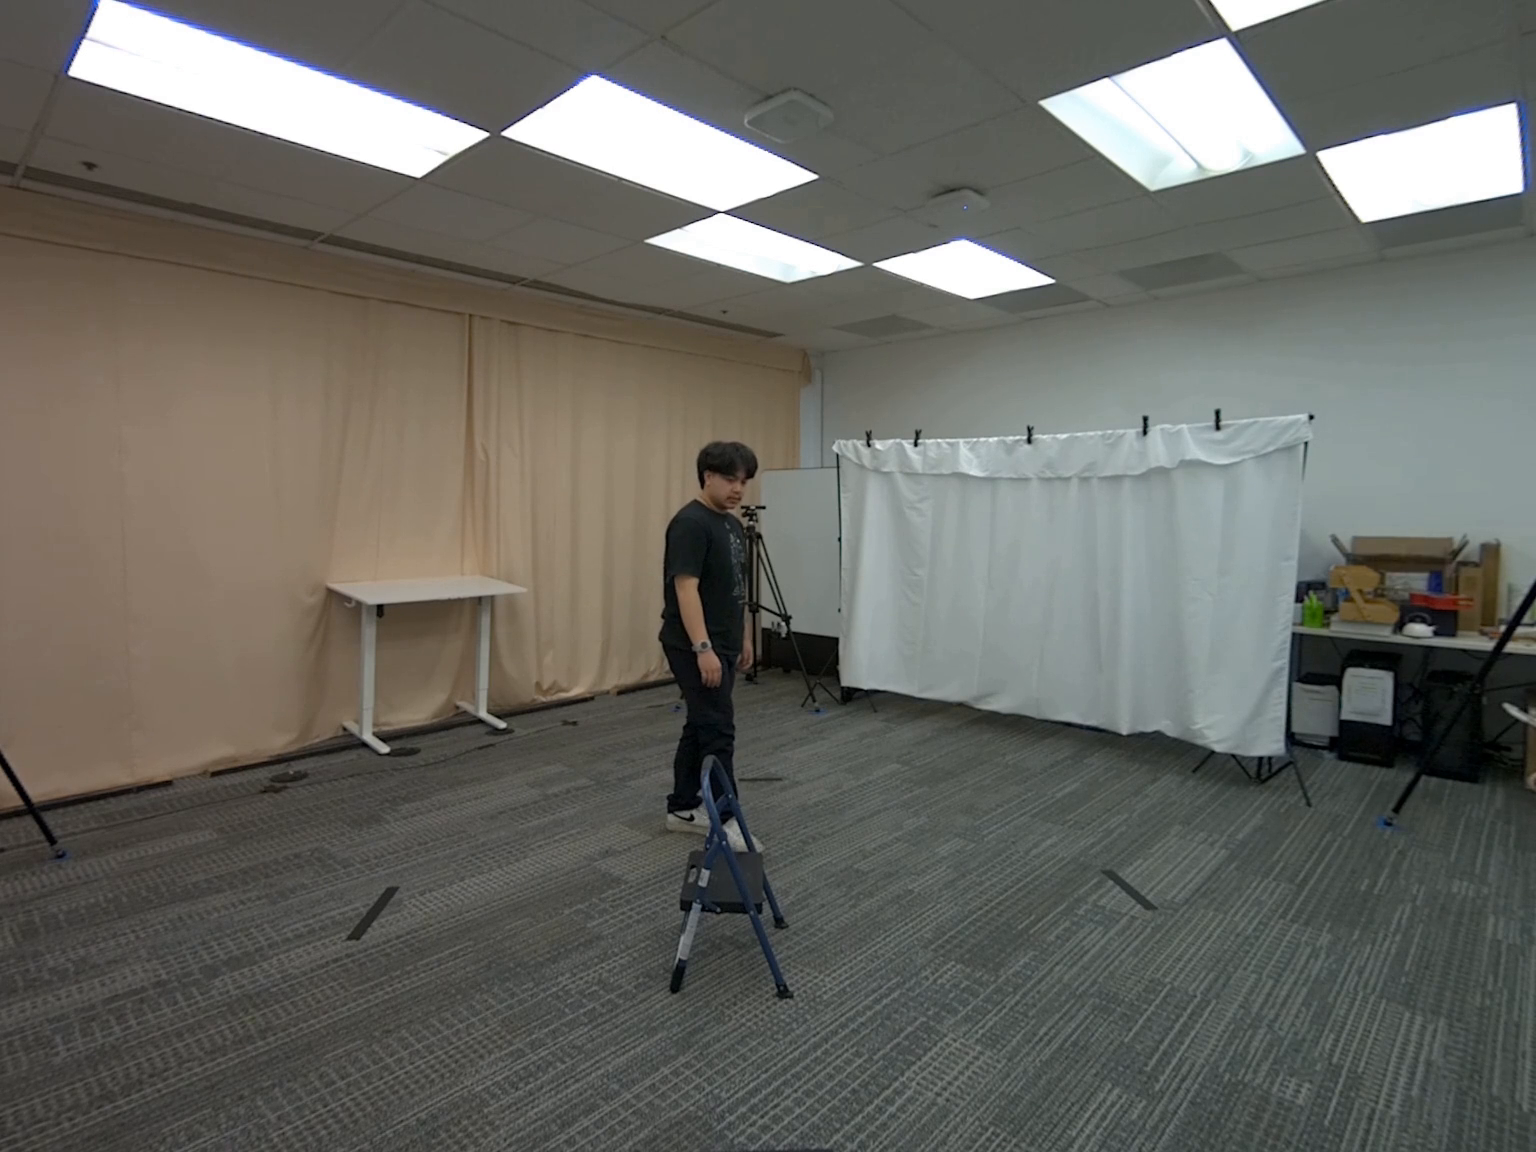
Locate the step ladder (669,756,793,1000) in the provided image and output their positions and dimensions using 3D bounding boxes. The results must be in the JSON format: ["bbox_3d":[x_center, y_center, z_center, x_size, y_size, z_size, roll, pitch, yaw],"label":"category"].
[{"bbox_3d":[-0.102,0.880,2.580,0.350,0.605,0.431,0,4,0],"label":"step ladder"}]
